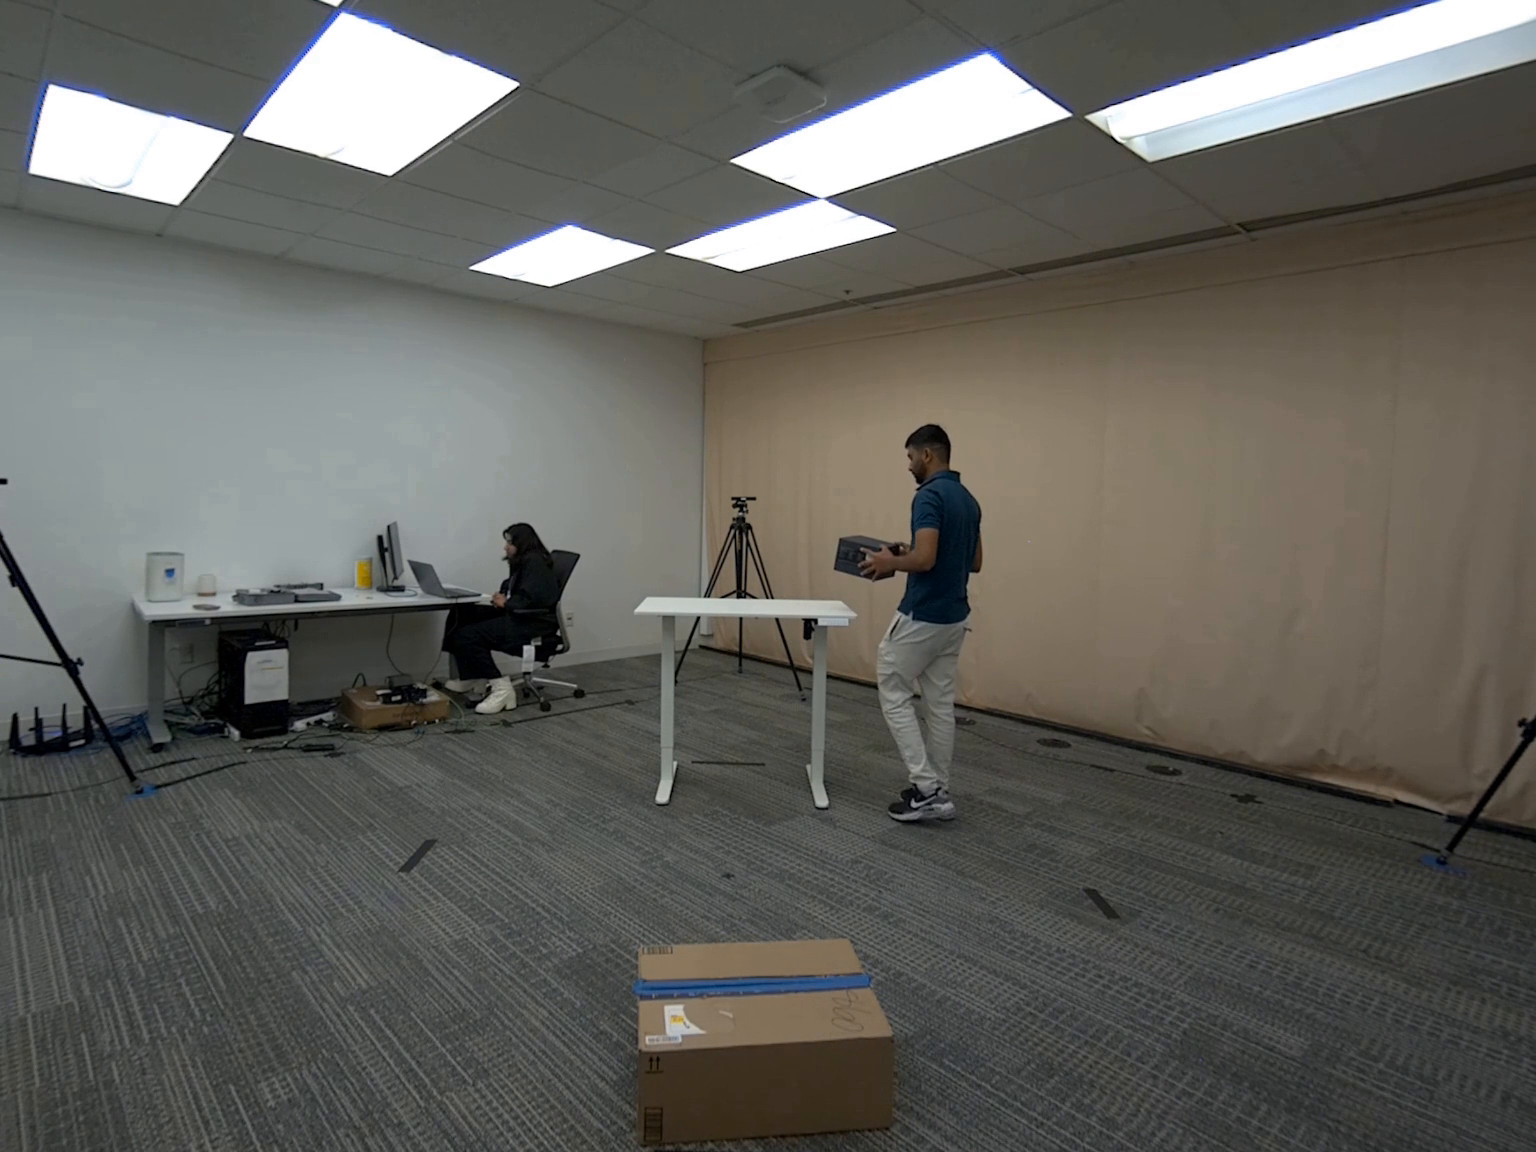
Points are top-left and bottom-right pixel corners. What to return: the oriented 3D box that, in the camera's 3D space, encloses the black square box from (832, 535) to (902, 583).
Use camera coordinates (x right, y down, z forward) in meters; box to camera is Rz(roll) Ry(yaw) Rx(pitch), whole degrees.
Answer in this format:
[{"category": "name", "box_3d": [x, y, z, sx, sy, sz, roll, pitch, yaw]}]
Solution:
[{"category": "black square box", "box_3d": [0.460, -0.086, 3.945, 0.223, 0.155, 0.223, 16, 14, 31]}]
